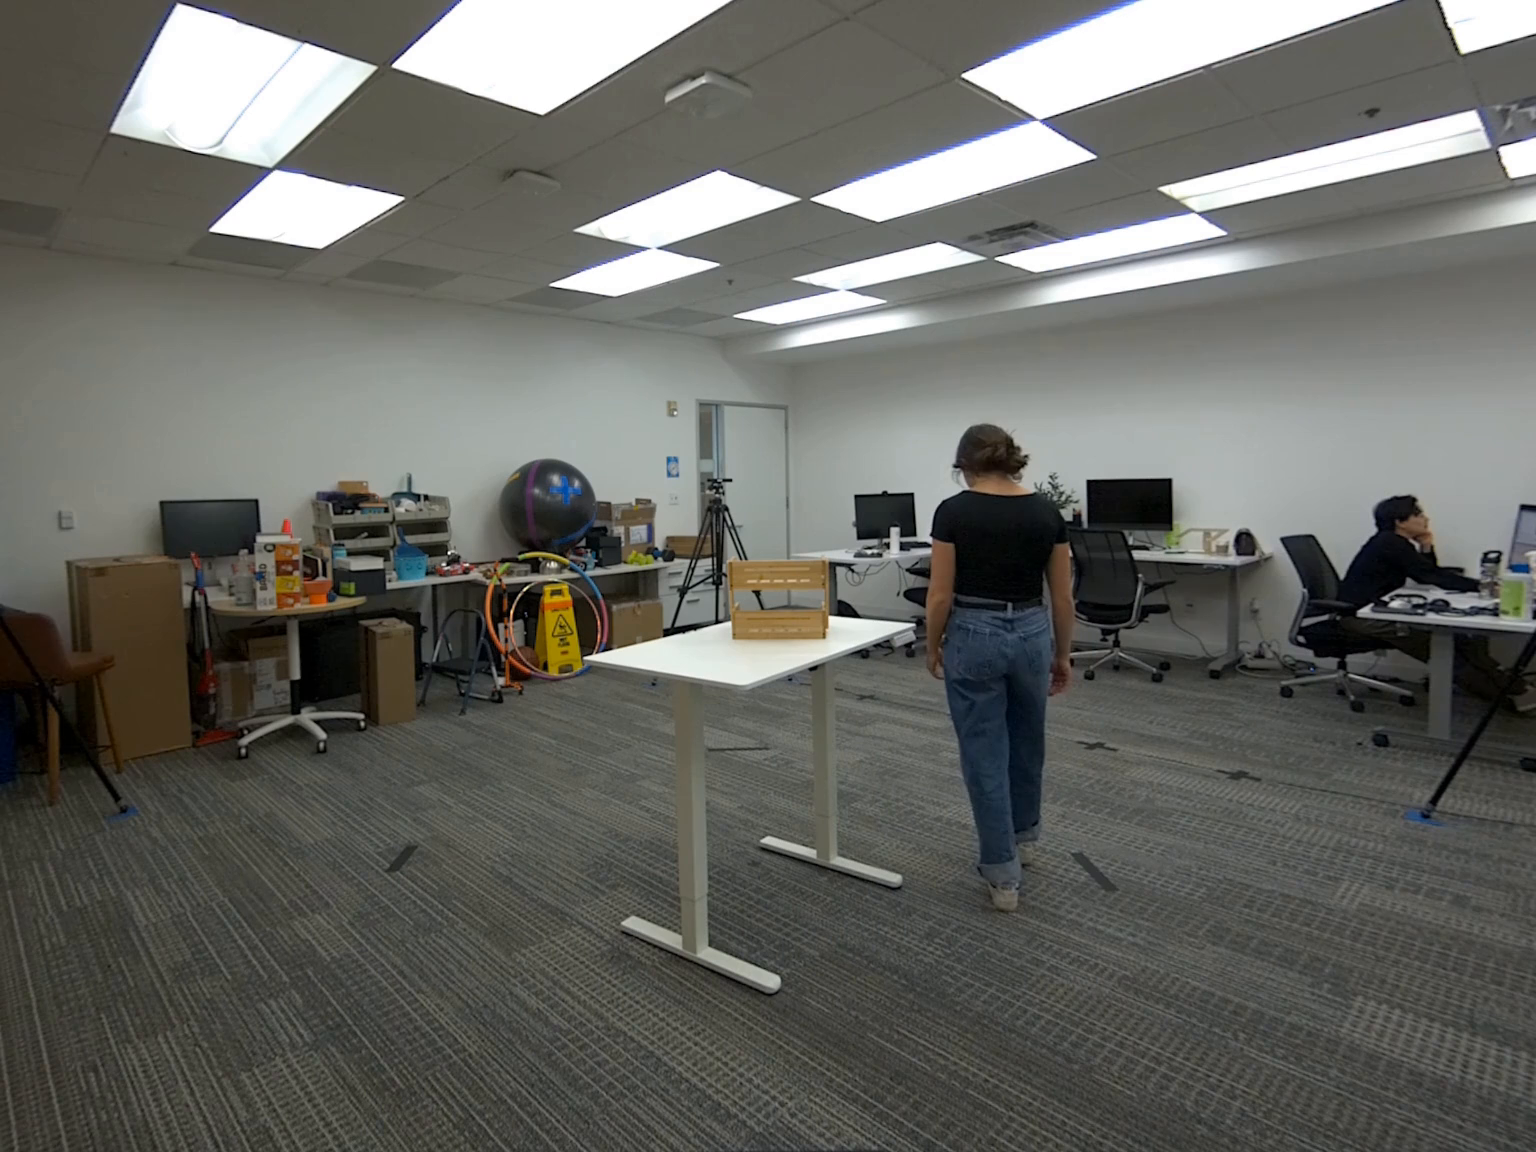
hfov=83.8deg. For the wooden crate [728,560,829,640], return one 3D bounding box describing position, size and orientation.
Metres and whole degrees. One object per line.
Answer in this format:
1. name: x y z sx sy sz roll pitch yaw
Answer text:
1. wooden crate: 0.048 0.061 2.833 0.326 0.272 0.302 -1 5 5
